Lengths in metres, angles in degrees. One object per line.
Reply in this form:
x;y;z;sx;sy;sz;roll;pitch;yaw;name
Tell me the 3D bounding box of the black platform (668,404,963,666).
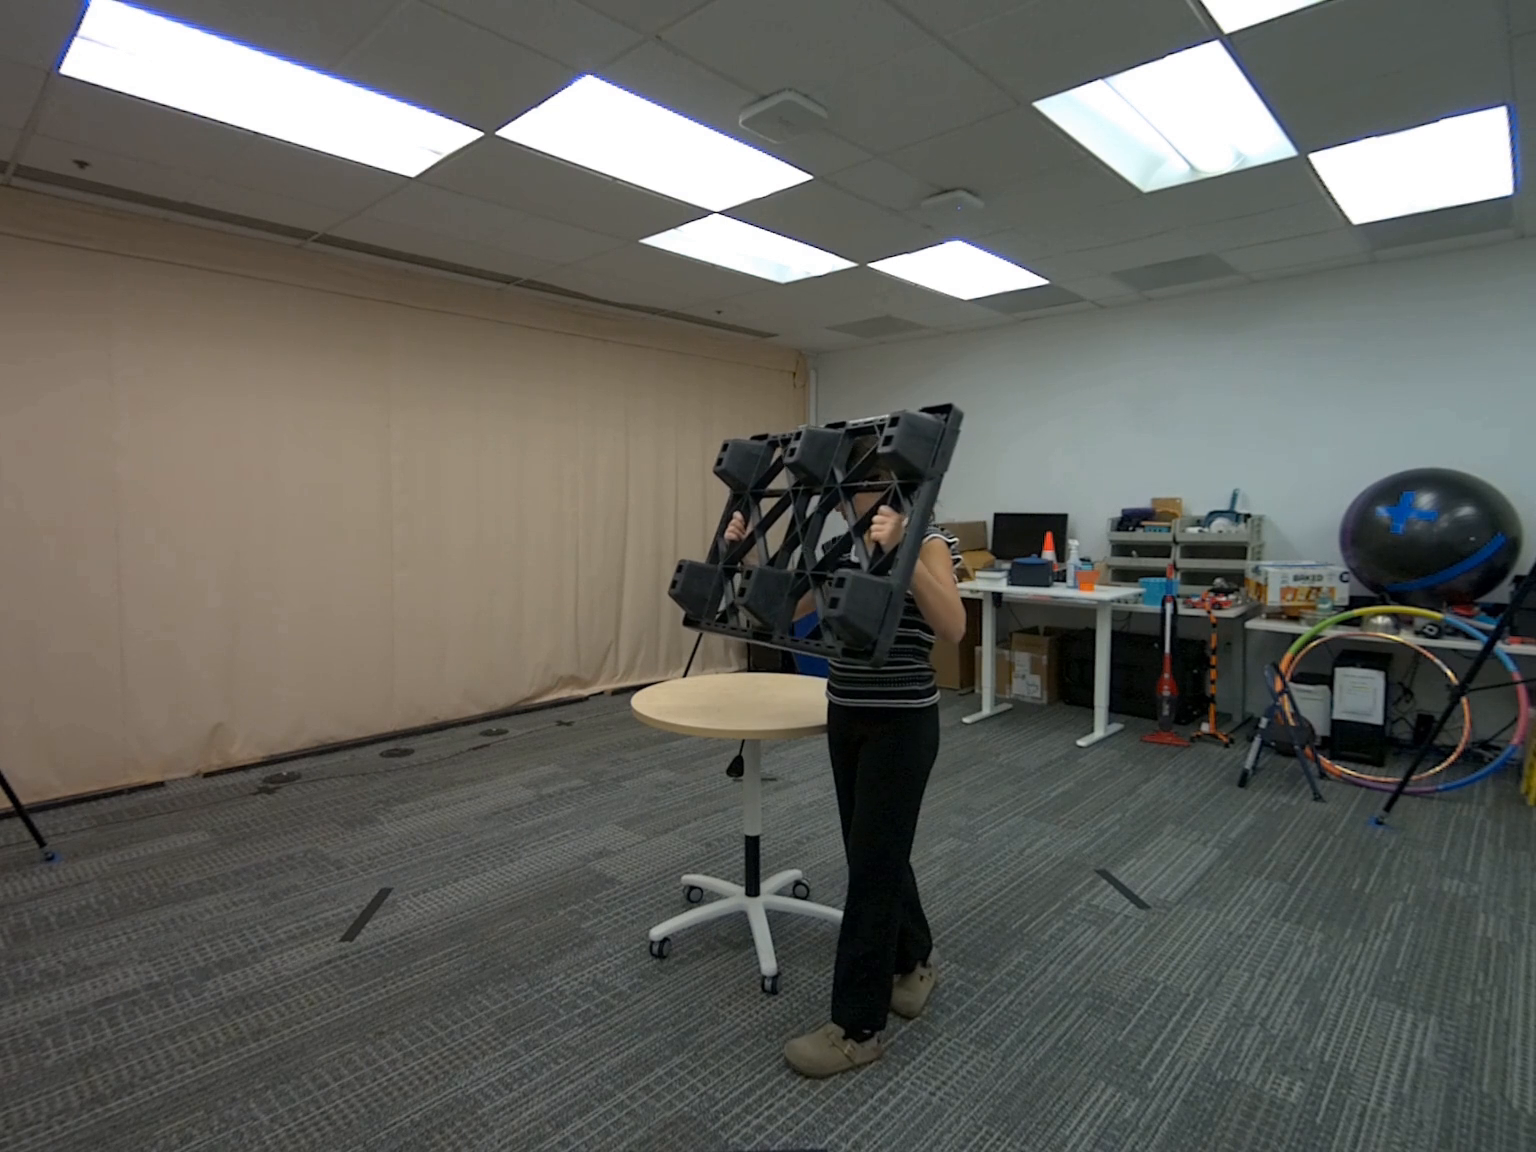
0.064;-0.130;2.080;0.139;0.606;0.830;25;-12;-33;black platform
